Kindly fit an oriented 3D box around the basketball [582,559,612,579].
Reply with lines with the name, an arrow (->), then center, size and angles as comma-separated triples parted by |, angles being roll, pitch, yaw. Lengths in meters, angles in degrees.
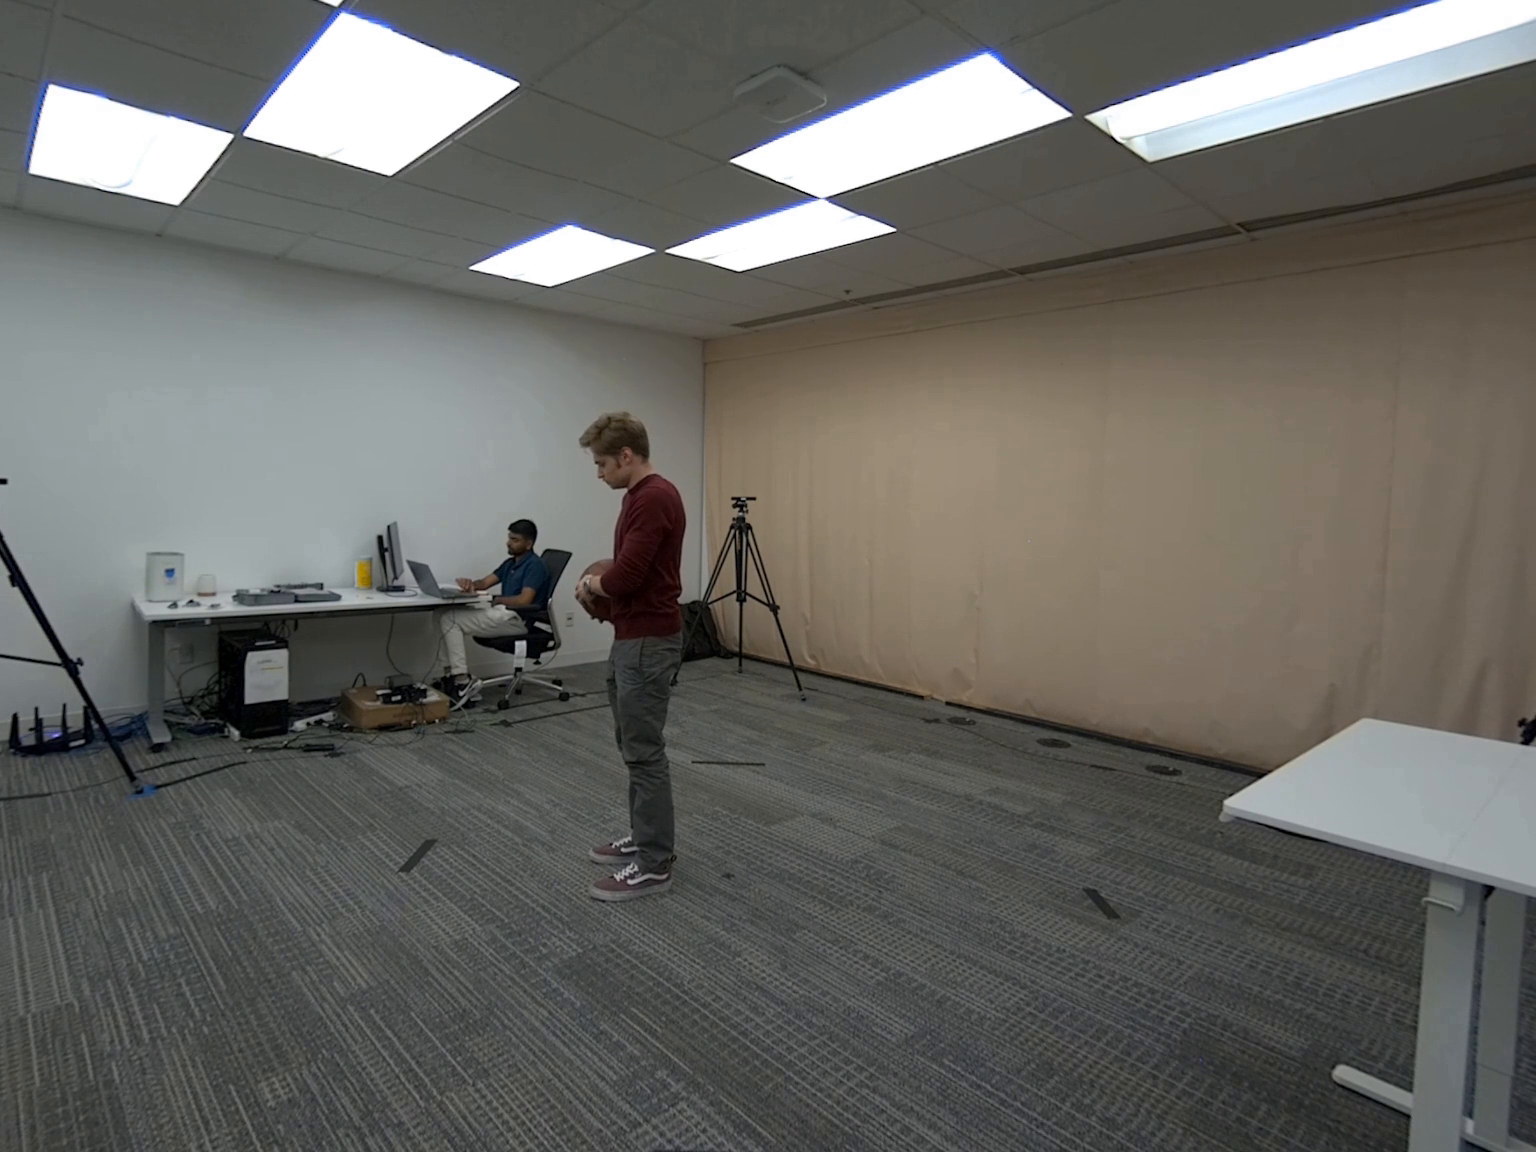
basketball -> -0.628, 0.055, 3.240 | 0.236, 0.235, 0.237 | 1, 4, -1
